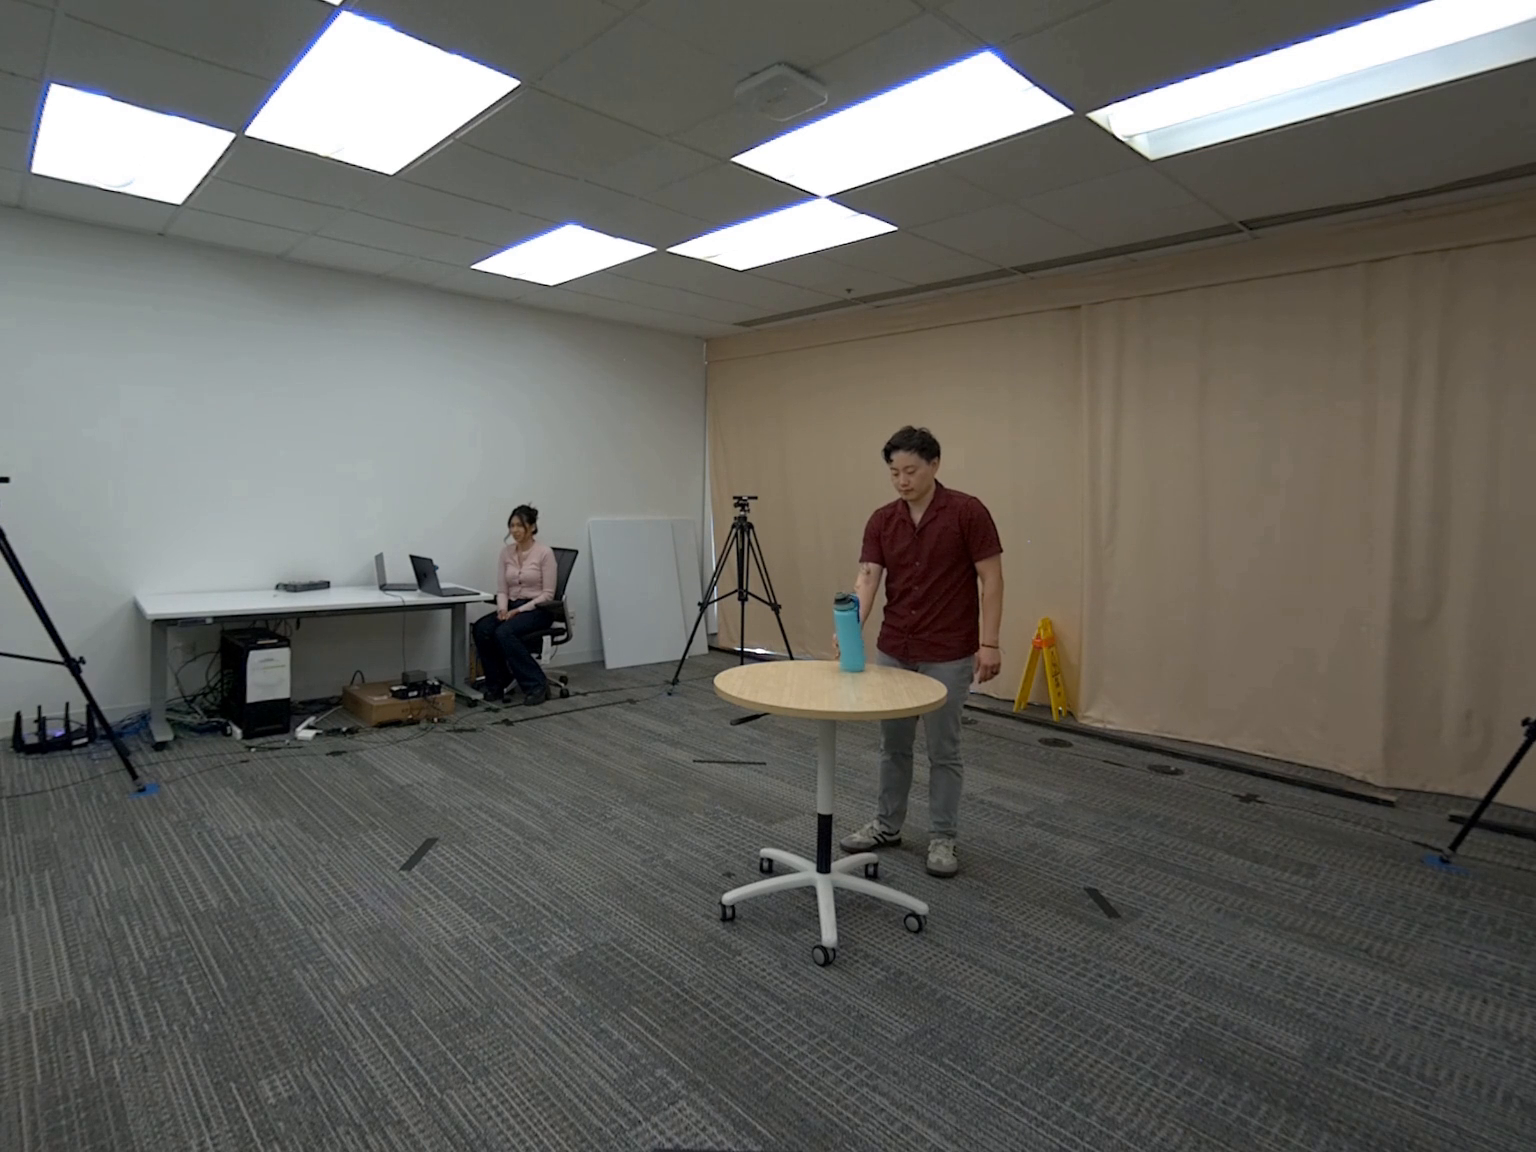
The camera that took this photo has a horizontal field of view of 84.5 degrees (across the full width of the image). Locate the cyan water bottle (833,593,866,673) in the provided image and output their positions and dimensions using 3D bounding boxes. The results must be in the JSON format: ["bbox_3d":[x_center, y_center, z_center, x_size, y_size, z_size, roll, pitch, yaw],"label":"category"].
[{"bbox_3d":[0.285,0.193,2.970,0.092,0.280,0.093,-6,16,0],"label":"cyan water bottle"}]
